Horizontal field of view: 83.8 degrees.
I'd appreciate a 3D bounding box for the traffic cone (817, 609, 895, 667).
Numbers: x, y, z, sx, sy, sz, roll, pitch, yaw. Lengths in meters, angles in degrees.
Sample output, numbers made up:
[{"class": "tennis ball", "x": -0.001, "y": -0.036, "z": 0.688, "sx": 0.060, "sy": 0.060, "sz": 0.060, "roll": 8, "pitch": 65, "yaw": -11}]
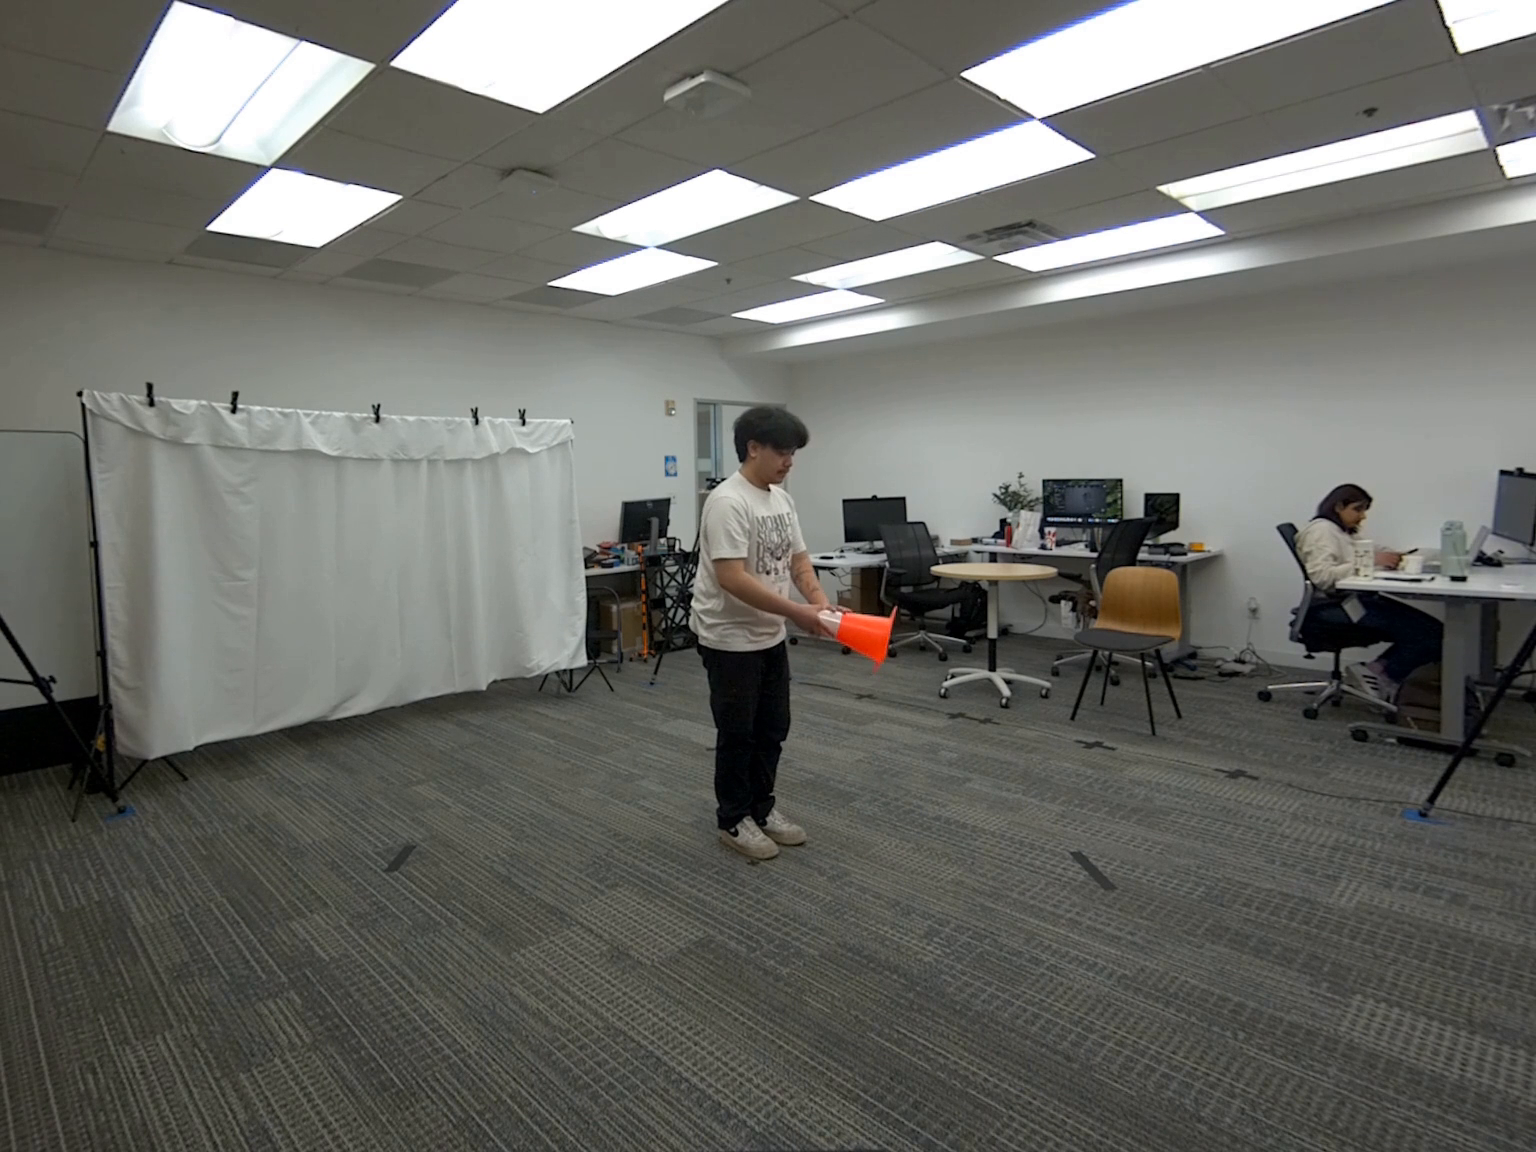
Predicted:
[{"class": "traffic cone", "x": 0.226, "y": 0.175, "z": 3.011, "sx": 0.387, "sy": 0.207, "sz": 0.199, "roll": 15, "pitch": -25, "yaw": 7}]
